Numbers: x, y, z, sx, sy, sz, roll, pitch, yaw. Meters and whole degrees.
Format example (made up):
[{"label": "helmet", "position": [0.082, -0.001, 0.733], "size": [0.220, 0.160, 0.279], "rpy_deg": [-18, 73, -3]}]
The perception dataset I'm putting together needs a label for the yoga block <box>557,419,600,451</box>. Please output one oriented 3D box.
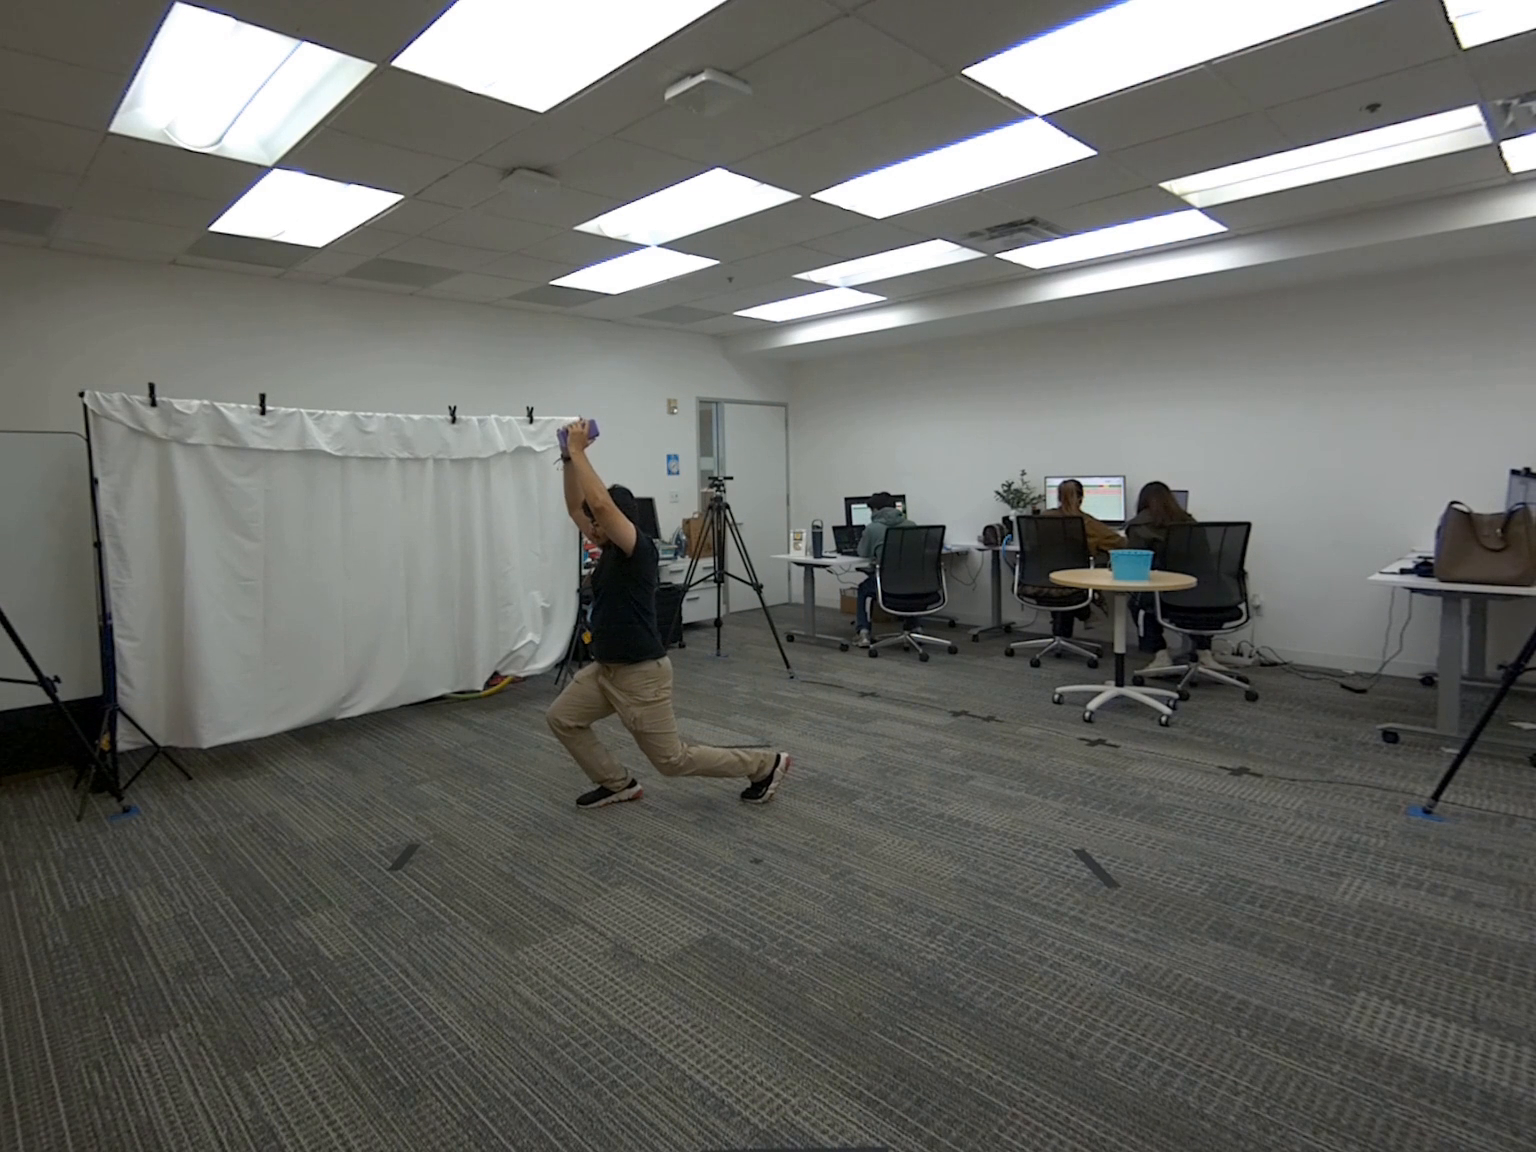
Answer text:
[{"label": "yoga block", "position": [-0.799, -0.604, 3.592], "size": [0.148, 0.075, 0.234], "rpy_deg": [-20, 12, -13]}]
